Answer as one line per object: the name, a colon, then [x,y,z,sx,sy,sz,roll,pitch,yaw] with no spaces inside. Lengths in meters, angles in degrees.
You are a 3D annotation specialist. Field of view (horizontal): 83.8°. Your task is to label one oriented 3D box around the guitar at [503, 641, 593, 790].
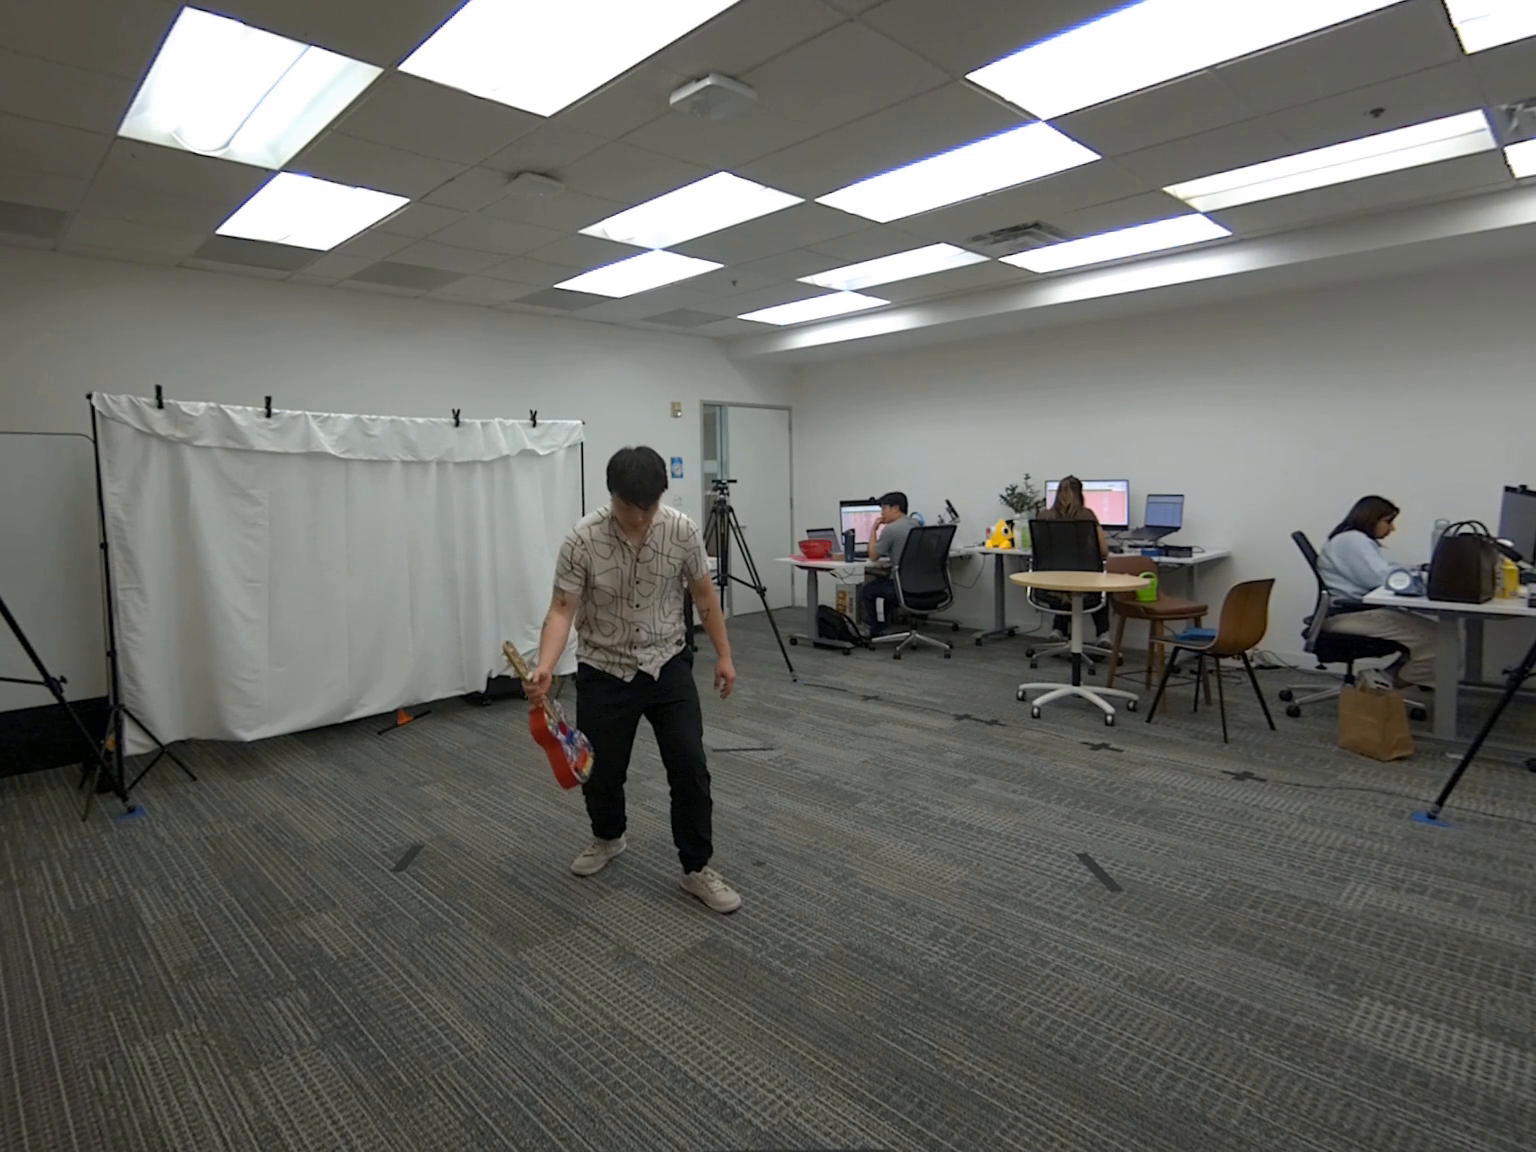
guitar: [-0.689,0.414,2.624,0.071,0.493,0.193,-25,7,10]
